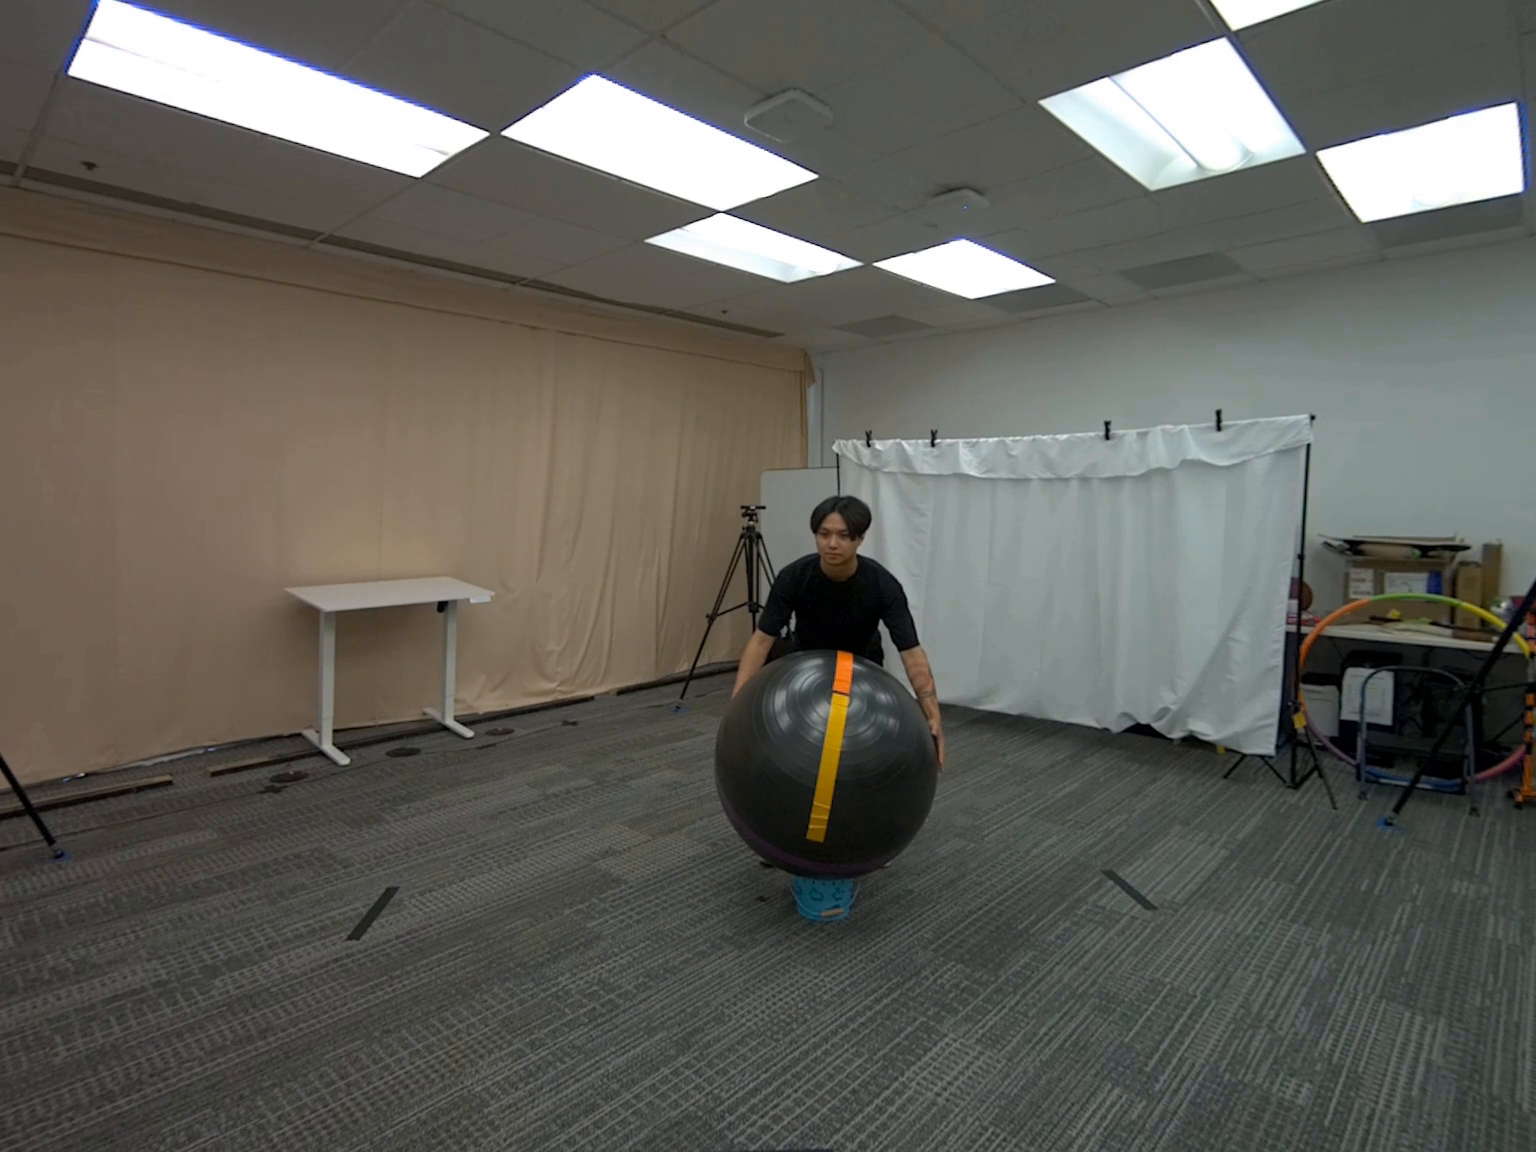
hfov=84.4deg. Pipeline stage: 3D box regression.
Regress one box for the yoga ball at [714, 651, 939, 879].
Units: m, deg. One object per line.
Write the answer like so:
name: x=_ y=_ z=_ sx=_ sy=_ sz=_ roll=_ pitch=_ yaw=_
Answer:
yoga ball: x=0.199 y=0.639 z=2.891 sx=0.757 sy=0.756 sz=0.760 roll=0 pitch=4 yaw=-2
